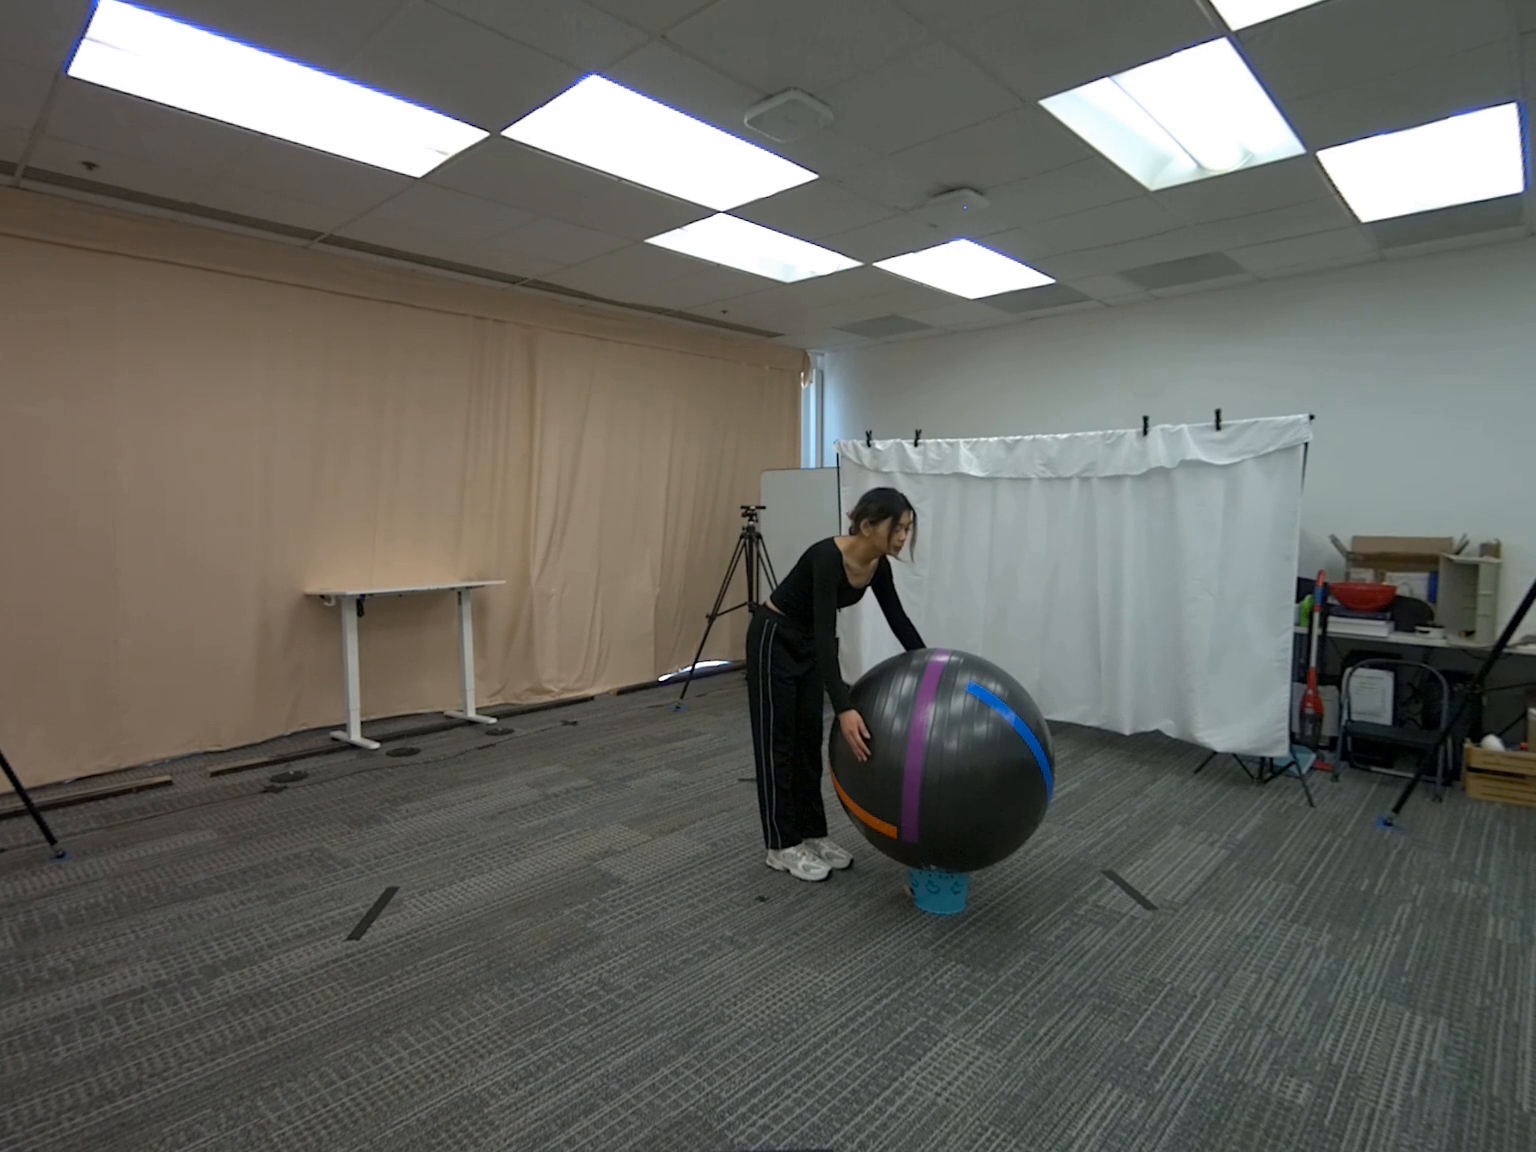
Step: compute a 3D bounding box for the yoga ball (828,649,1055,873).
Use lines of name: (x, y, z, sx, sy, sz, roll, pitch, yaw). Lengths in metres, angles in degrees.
yoga ball: (0.600, 0.638, 2.933, 0.757, 0.756, 0.760, 0, 4, -2)
